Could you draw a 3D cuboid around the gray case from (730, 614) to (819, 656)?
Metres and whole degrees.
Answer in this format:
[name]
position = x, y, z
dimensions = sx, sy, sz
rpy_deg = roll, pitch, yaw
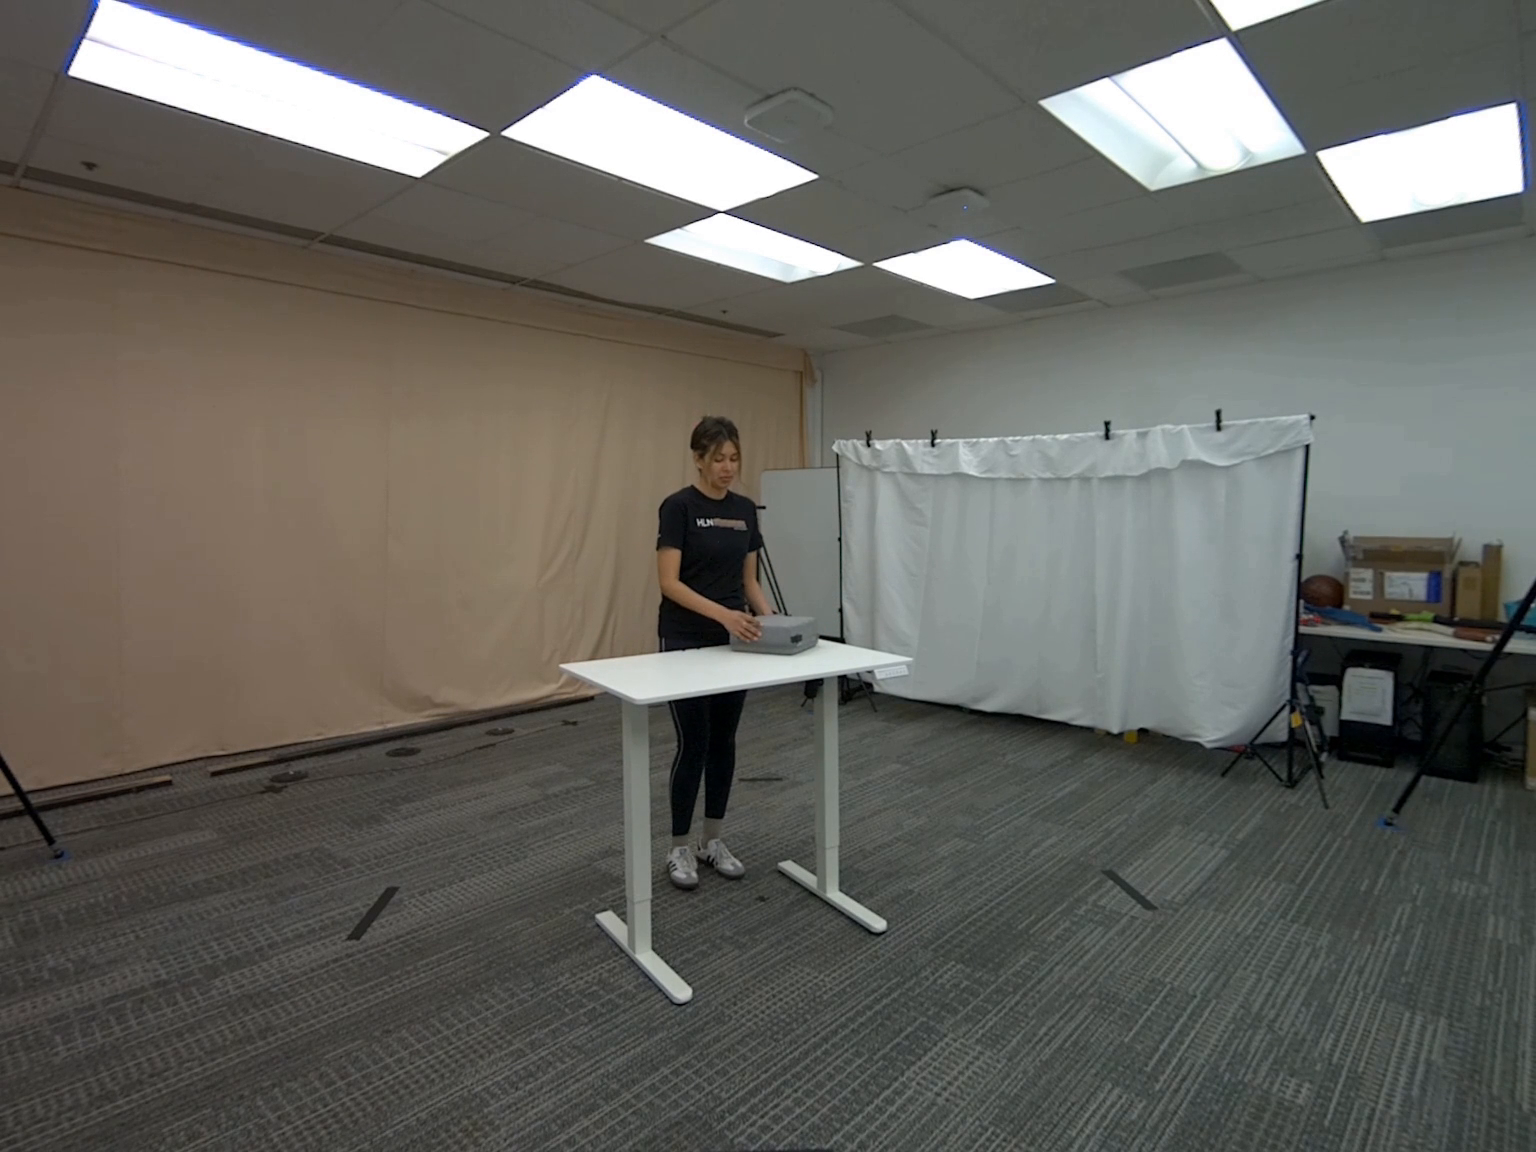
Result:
[gray case]
position = 0.030, 0.209, 2.984
dimensions = 0.267, 0.104, 0.251
rpy_deg = 1, 6, 27
